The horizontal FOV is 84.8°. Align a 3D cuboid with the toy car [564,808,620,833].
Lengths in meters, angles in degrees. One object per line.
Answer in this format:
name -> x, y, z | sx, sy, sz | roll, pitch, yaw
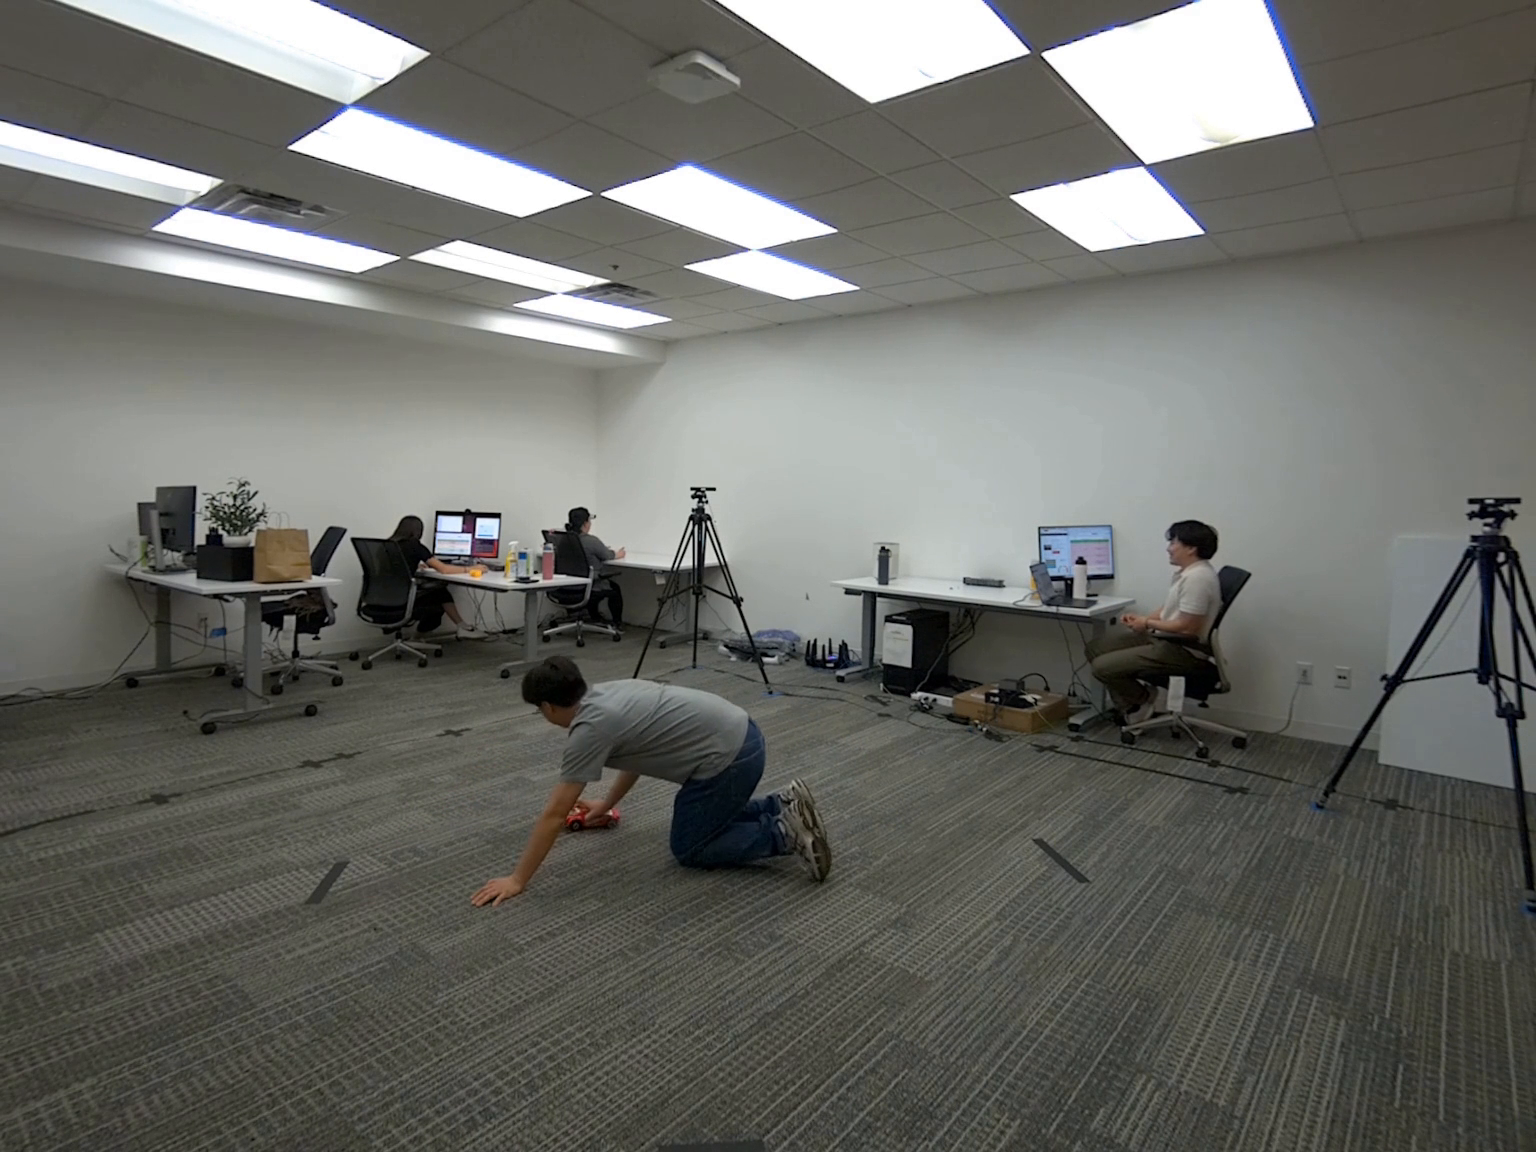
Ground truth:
toy car -> -0.764, 0.993, 3.487 | 0.251, 0.083, 0.132 | 10, 0, -13
